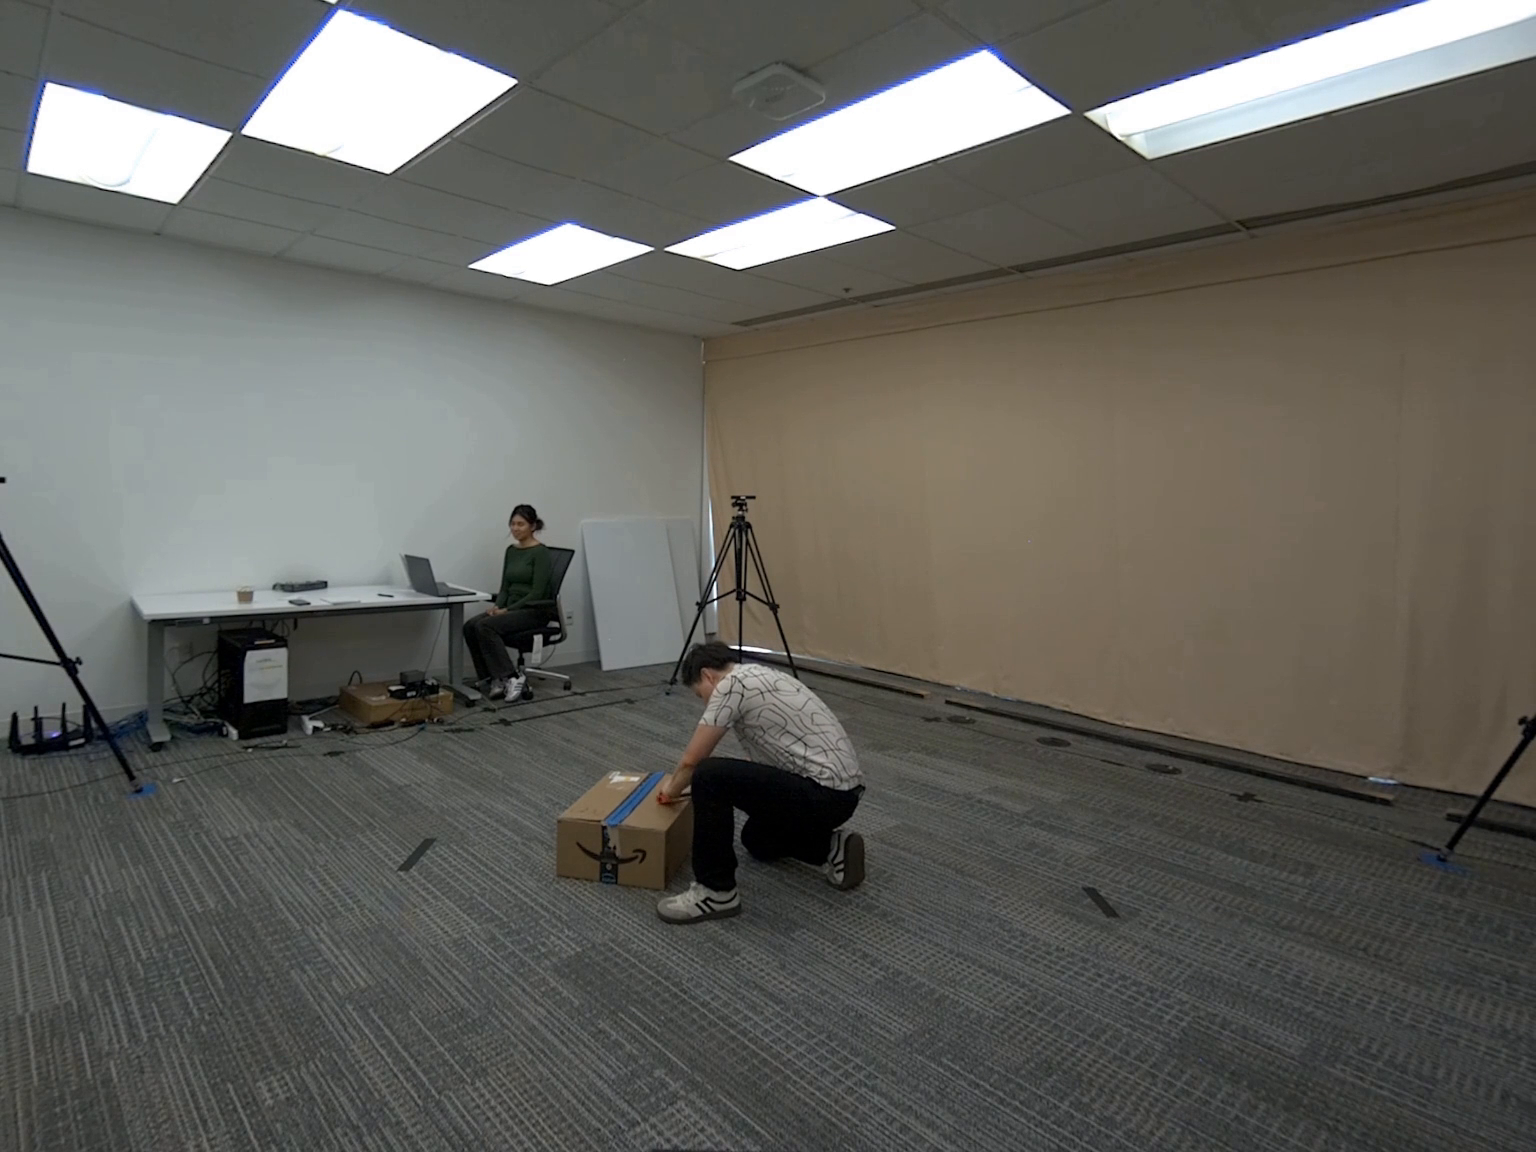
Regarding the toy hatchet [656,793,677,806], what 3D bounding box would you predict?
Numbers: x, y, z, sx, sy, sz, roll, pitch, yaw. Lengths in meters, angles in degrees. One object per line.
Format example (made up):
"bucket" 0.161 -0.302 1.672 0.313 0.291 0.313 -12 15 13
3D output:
"toy hatchet" -0.330 0.843 3.290 0.134 0.030 0.263 -5 -4 40
